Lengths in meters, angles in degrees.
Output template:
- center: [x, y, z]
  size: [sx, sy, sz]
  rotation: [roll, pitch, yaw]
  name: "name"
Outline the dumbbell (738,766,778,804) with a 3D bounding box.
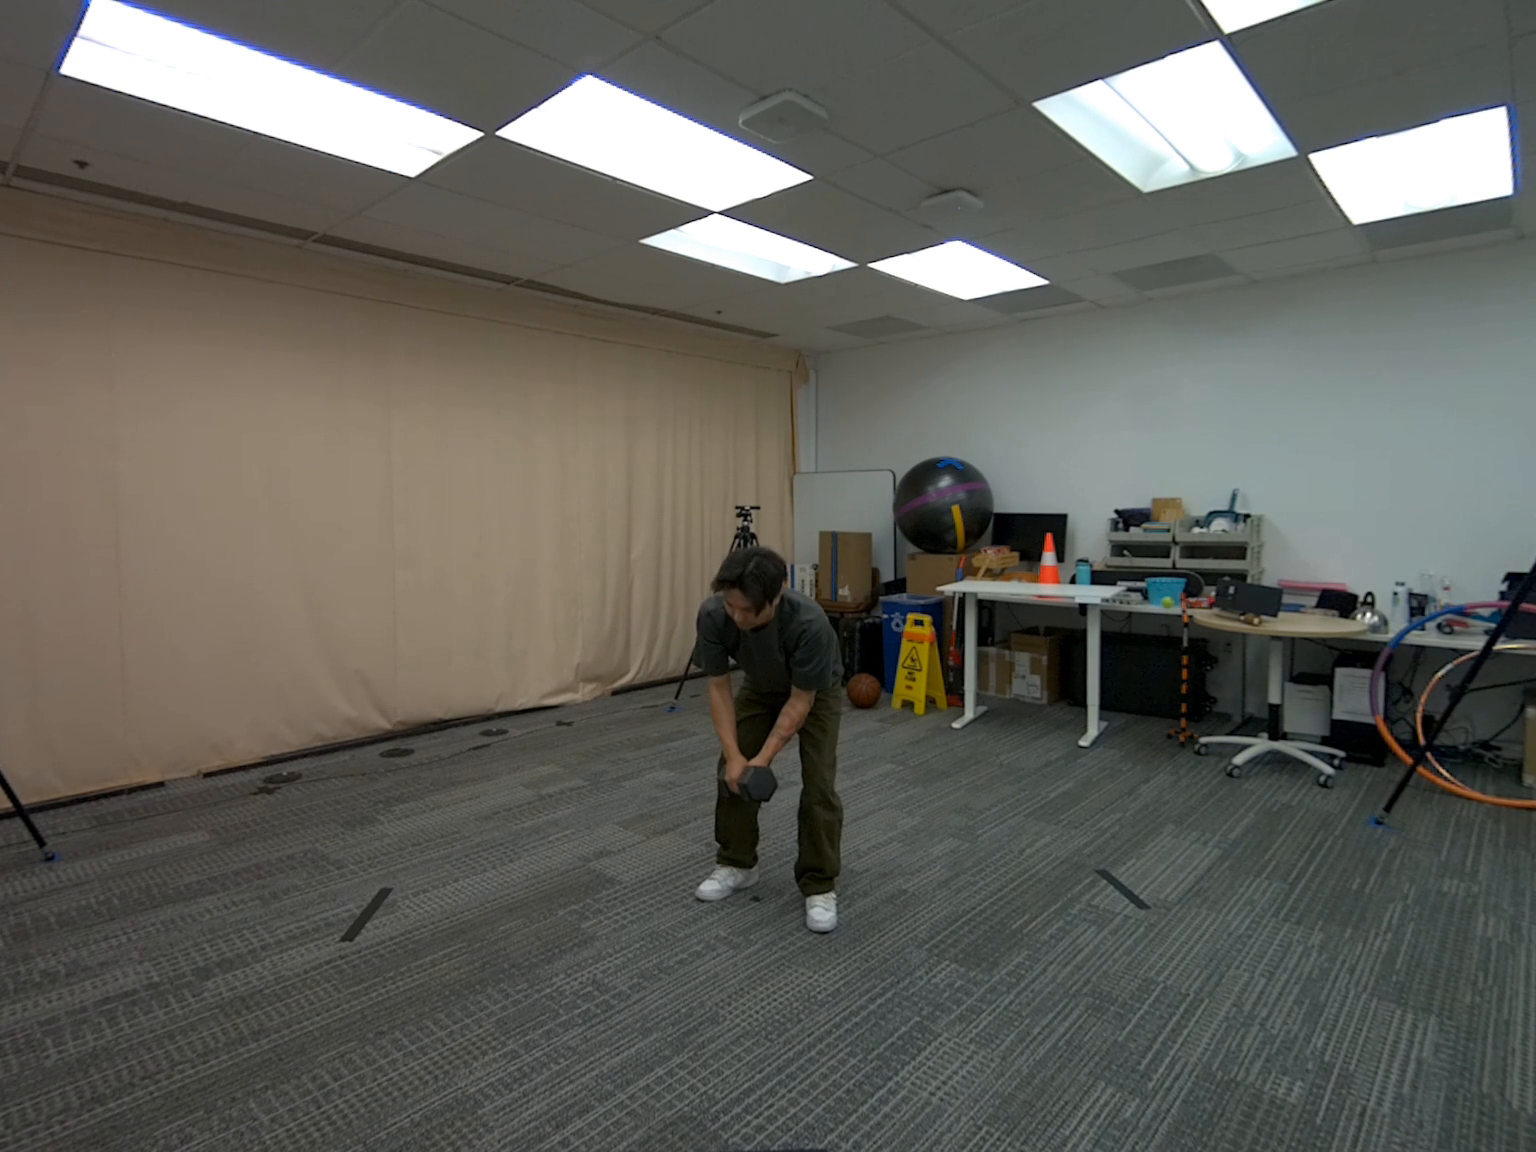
- center: [-0.068, 0.666, 2.733]
  size: [0.107, 0.123, 0.296]
  rotation: [-25, -2, -19]
  name: "dumbbell"
